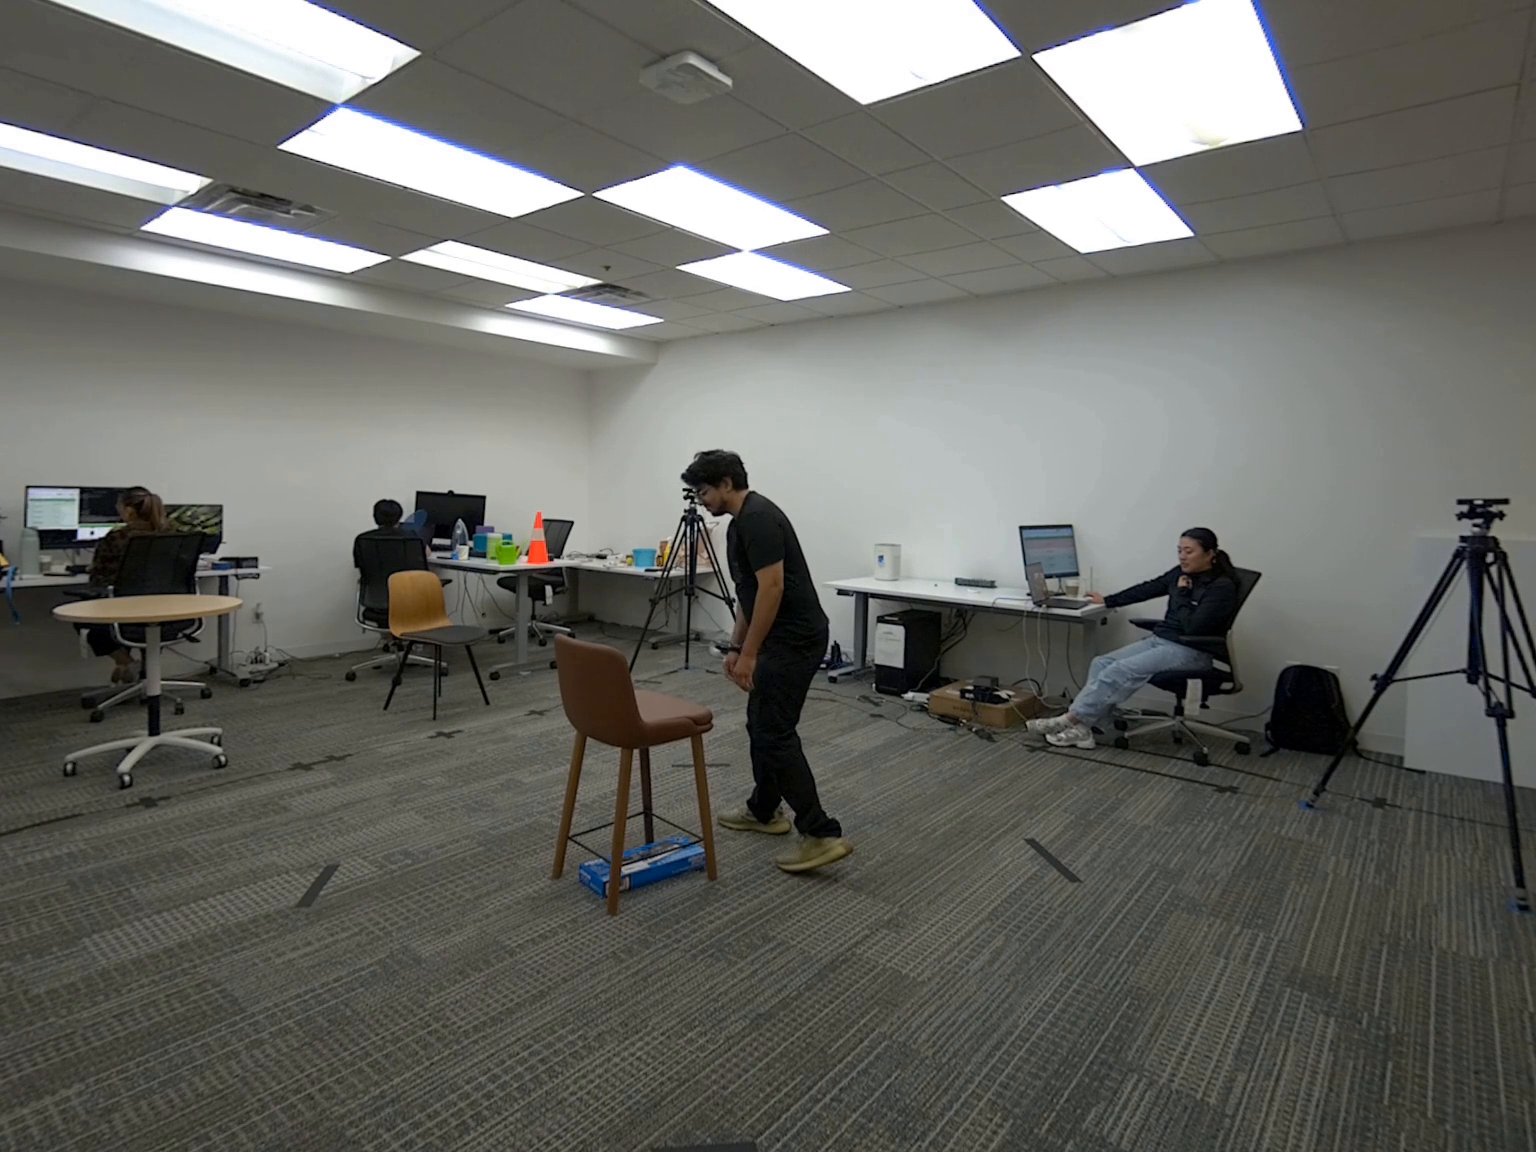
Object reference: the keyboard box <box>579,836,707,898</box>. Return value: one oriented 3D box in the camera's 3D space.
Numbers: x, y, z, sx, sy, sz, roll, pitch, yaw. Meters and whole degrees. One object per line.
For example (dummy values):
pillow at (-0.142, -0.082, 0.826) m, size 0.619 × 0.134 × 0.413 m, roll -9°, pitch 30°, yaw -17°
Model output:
keyboard box at (-0.459, 1.043, 3.064) m, size 0.424 × 0.059 × 0.182 m, roll -3°, pitch 6°, yaw -39°
